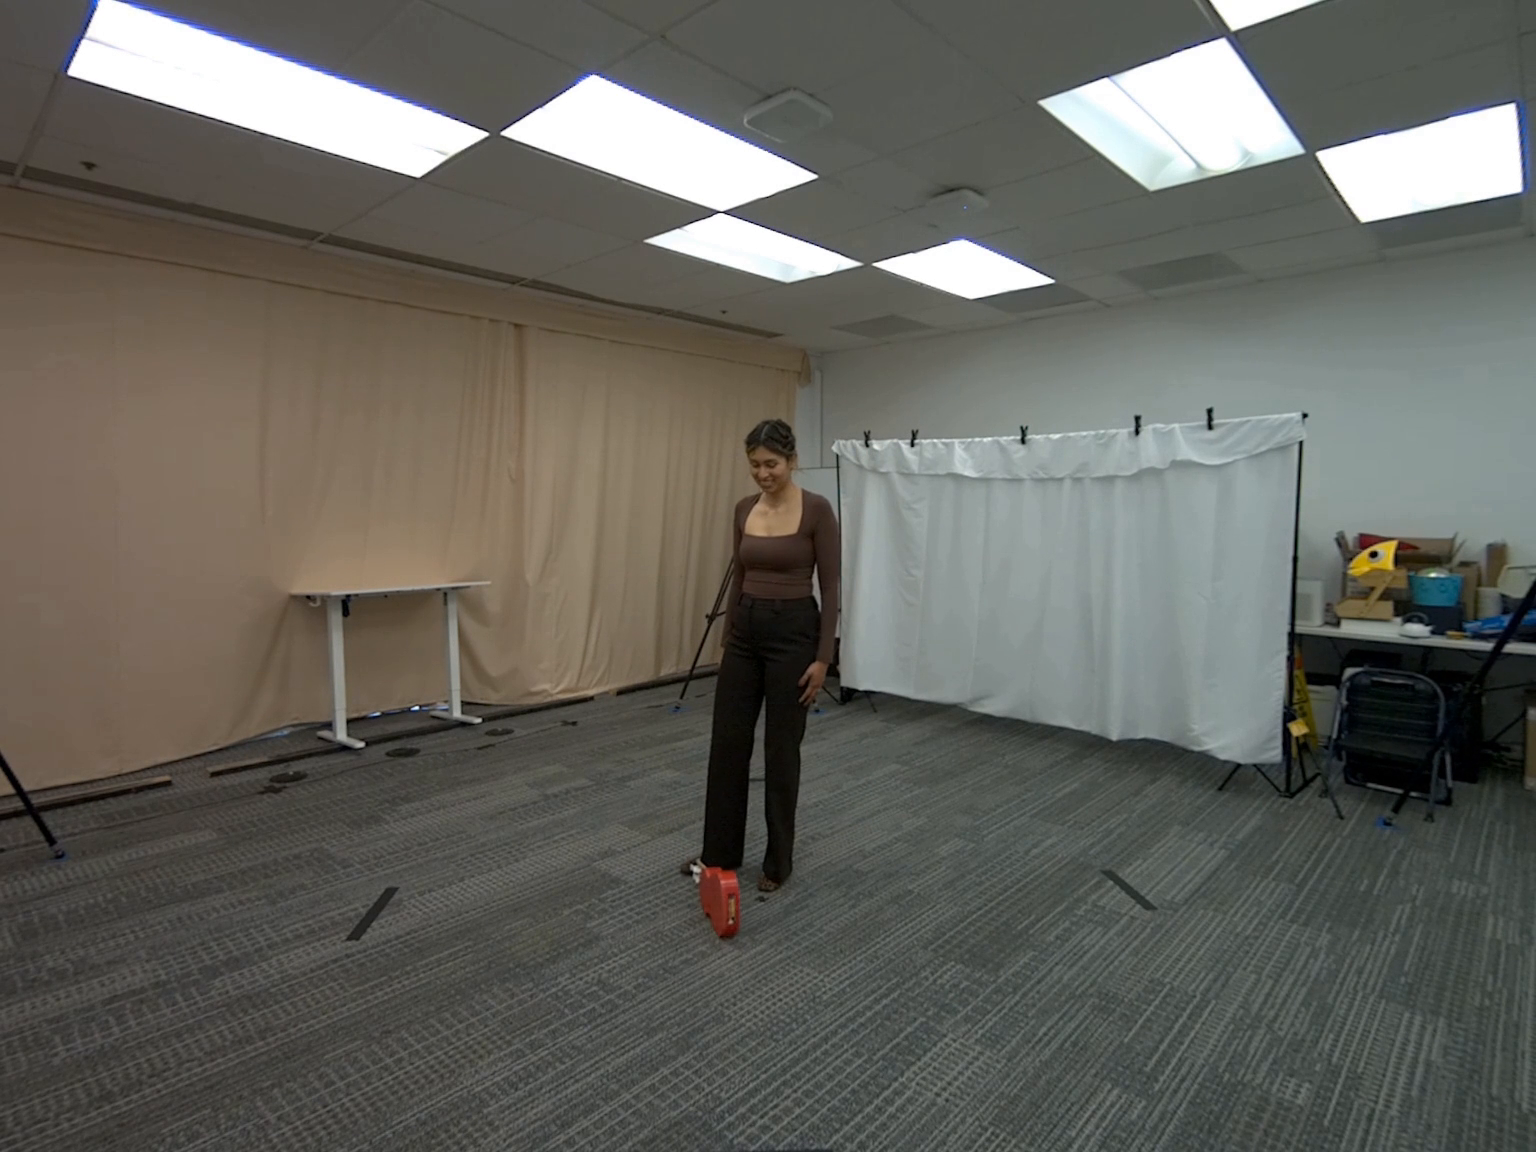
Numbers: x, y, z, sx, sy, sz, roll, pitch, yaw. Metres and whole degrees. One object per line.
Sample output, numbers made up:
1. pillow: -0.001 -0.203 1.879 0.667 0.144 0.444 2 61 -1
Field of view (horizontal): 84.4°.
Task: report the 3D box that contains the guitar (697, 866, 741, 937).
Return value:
1. guitar: -0.197 1.102 2.918 0.069 0.195 0.502 1 -13 -19
